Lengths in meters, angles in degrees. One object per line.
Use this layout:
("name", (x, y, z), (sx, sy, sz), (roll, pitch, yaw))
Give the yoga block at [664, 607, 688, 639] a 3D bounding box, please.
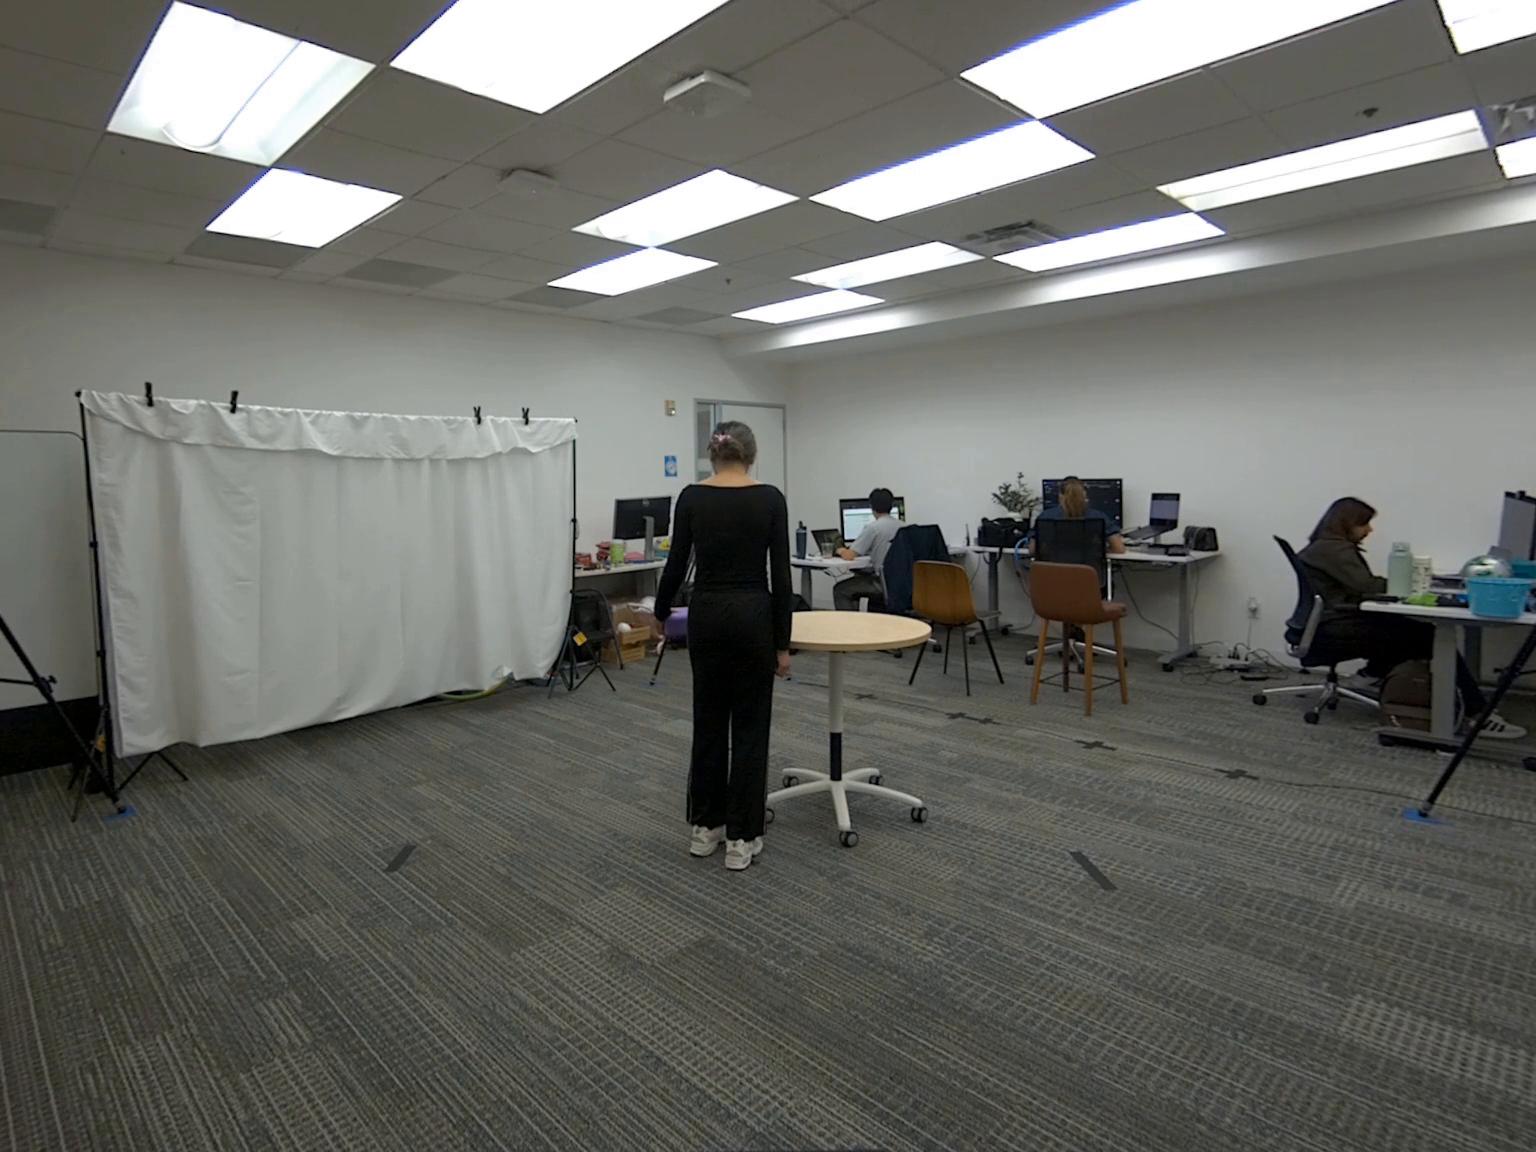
("yoga block", (-0.354, 0.183, 3.441), (0.147, 0.076, 0.234), (-4, 7, -18))
